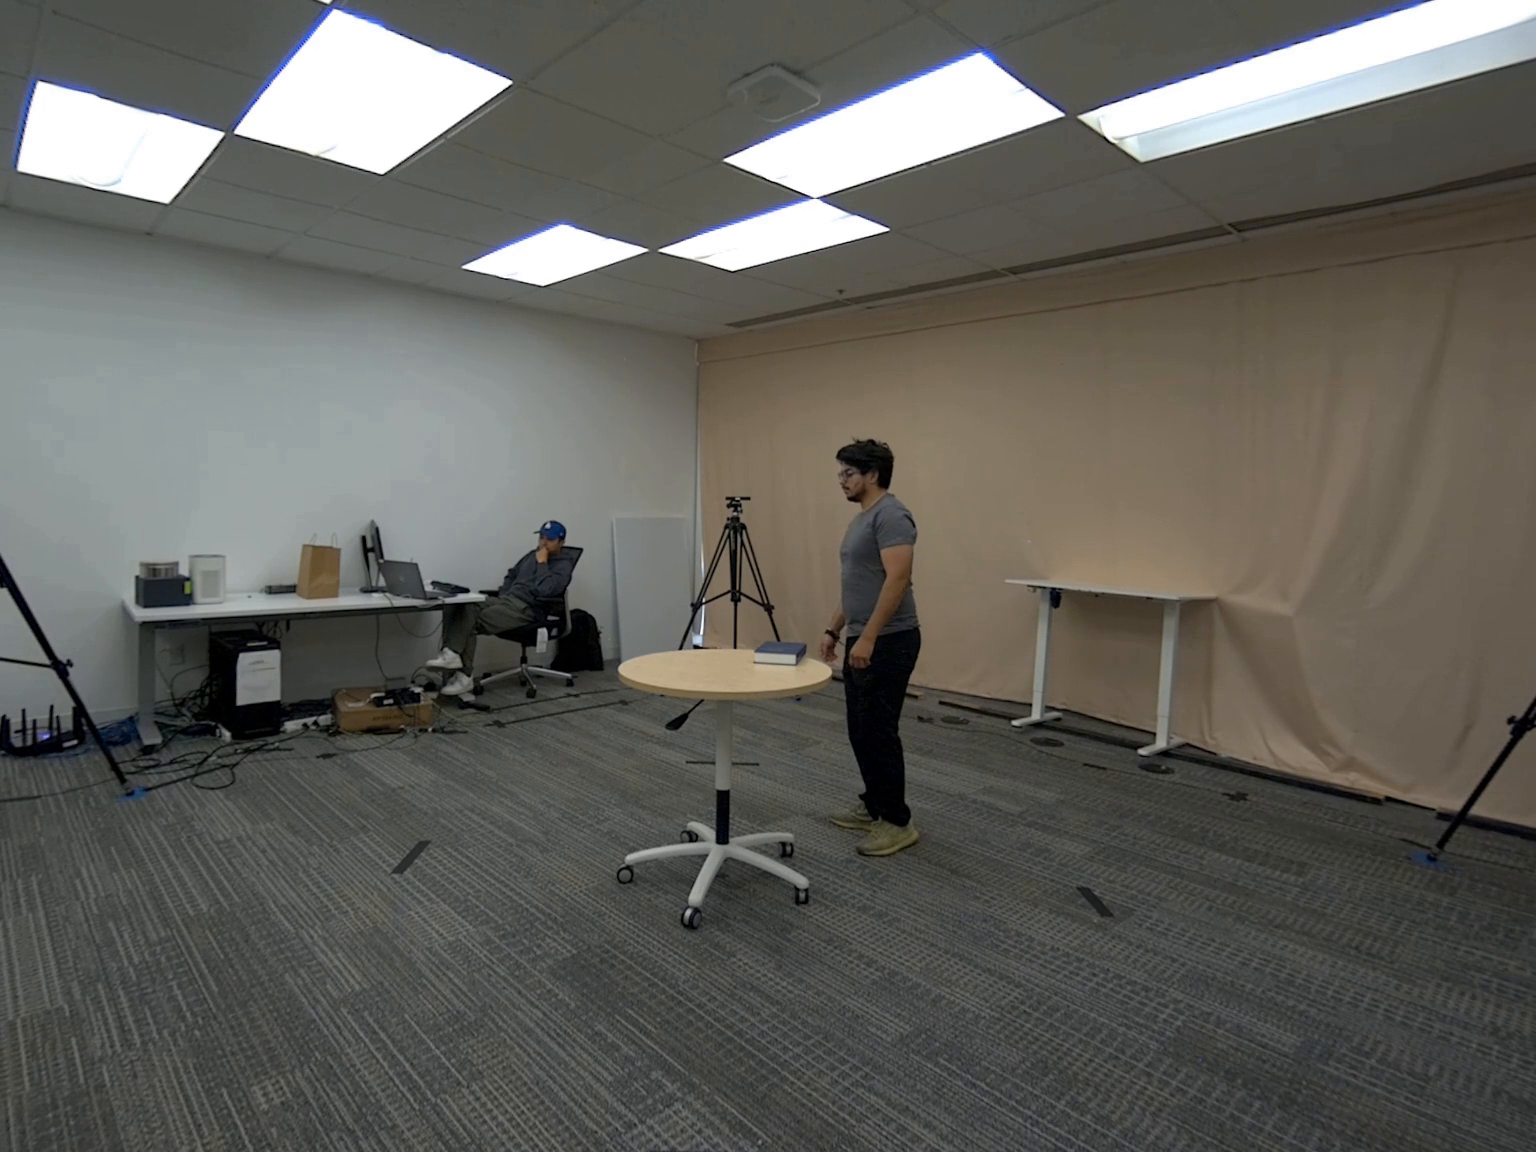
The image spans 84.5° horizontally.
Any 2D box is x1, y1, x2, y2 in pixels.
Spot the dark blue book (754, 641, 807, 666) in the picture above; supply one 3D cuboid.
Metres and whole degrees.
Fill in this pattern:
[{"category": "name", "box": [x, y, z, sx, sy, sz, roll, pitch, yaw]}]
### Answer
[{"category": "dark blue book", "box": [0.044, 0.295, 3.213, 0.165, 0.045, 0.243, 1, 5, 11]}]
